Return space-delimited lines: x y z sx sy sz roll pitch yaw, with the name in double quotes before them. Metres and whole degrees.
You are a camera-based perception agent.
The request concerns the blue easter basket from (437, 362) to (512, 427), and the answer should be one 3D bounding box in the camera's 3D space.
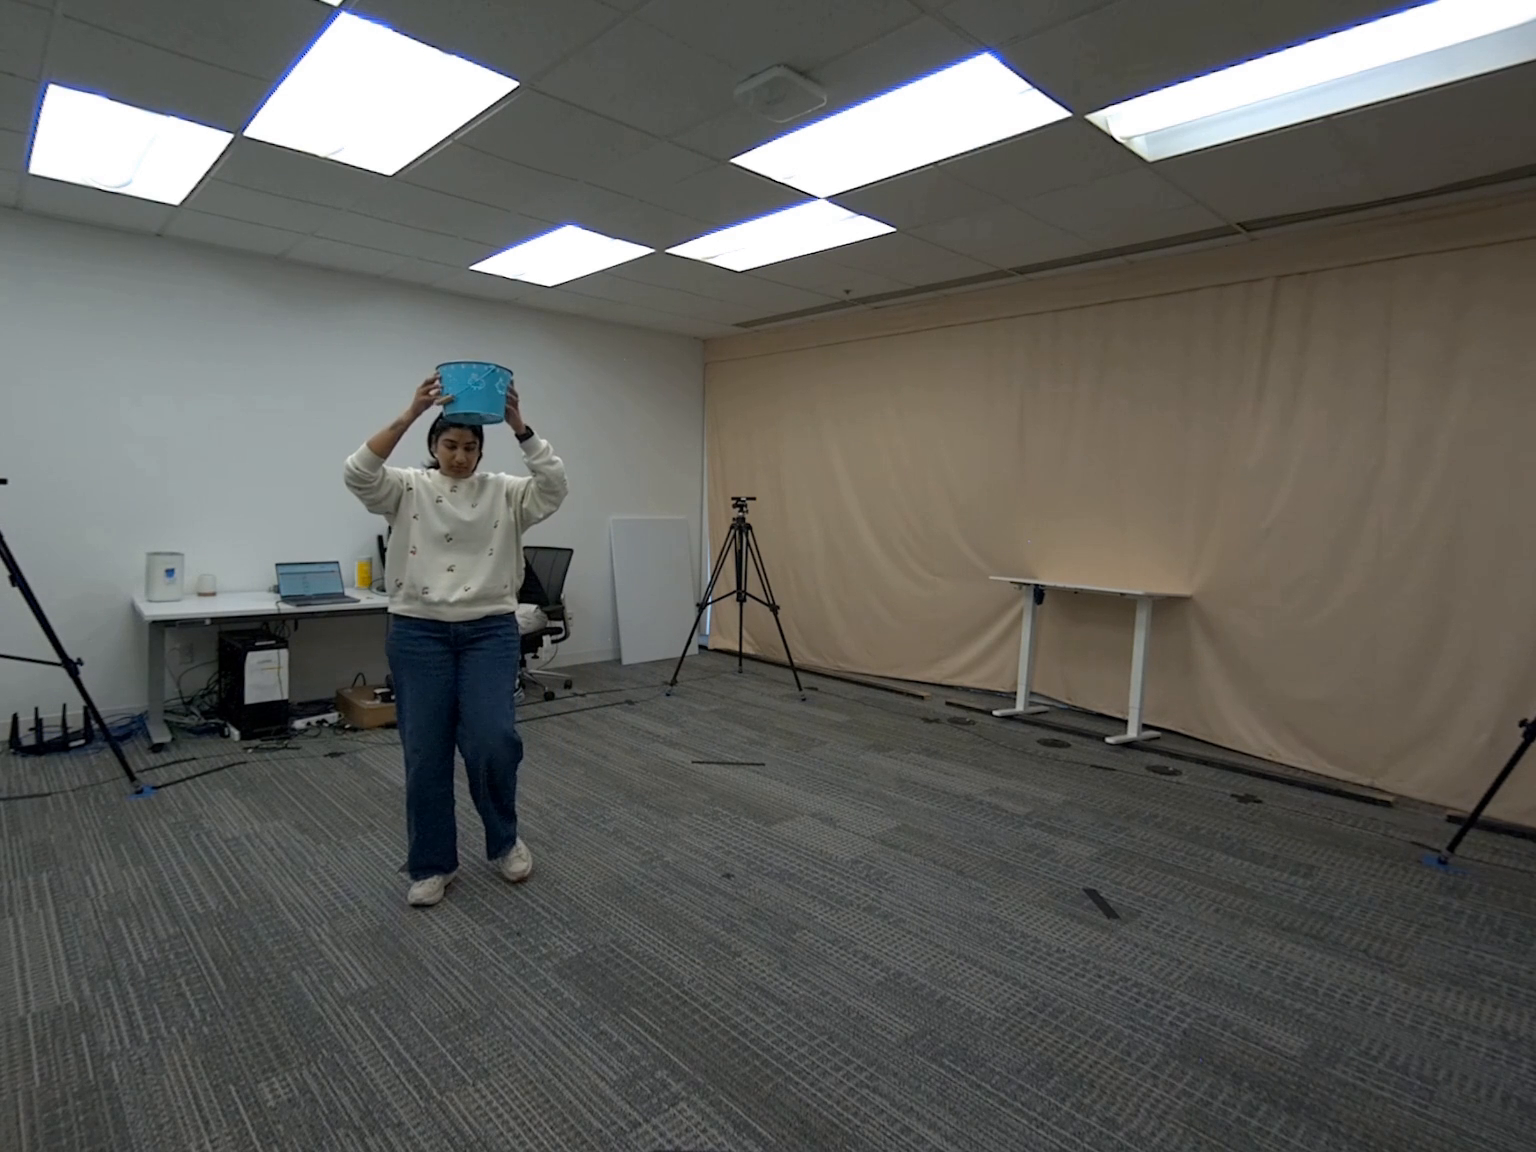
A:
"blue easter basket" -0.927 -0.567 2.618 0.243 0.156 0.243 -1 -3 -1
